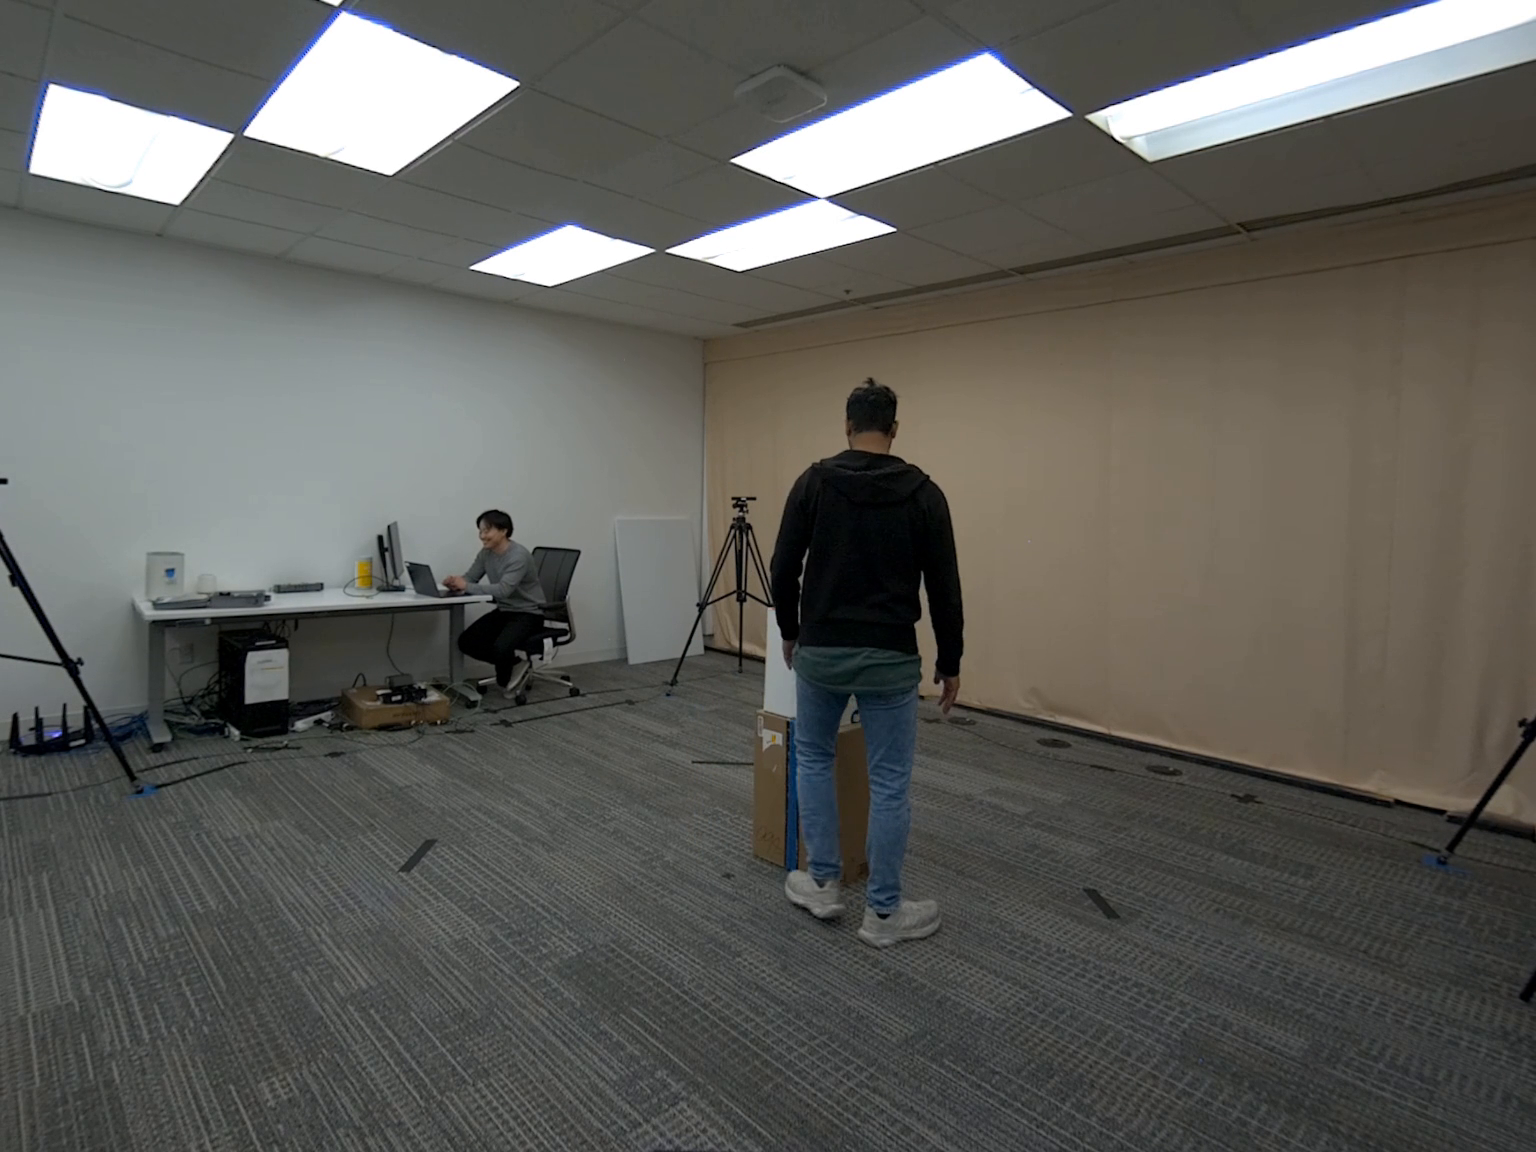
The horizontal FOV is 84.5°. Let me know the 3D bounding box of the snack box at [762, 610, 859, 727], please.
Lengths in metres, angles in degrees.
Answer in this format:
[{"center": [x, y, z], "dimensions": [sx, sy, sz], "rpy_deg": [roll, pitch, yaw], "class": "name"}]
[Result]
[{"center": [0.176, 0.339, 3.216], "dimensions": [0.201, 0.405, 0.349], "rpy_deg": [1, 3, -43], "class": "snack box"}]
